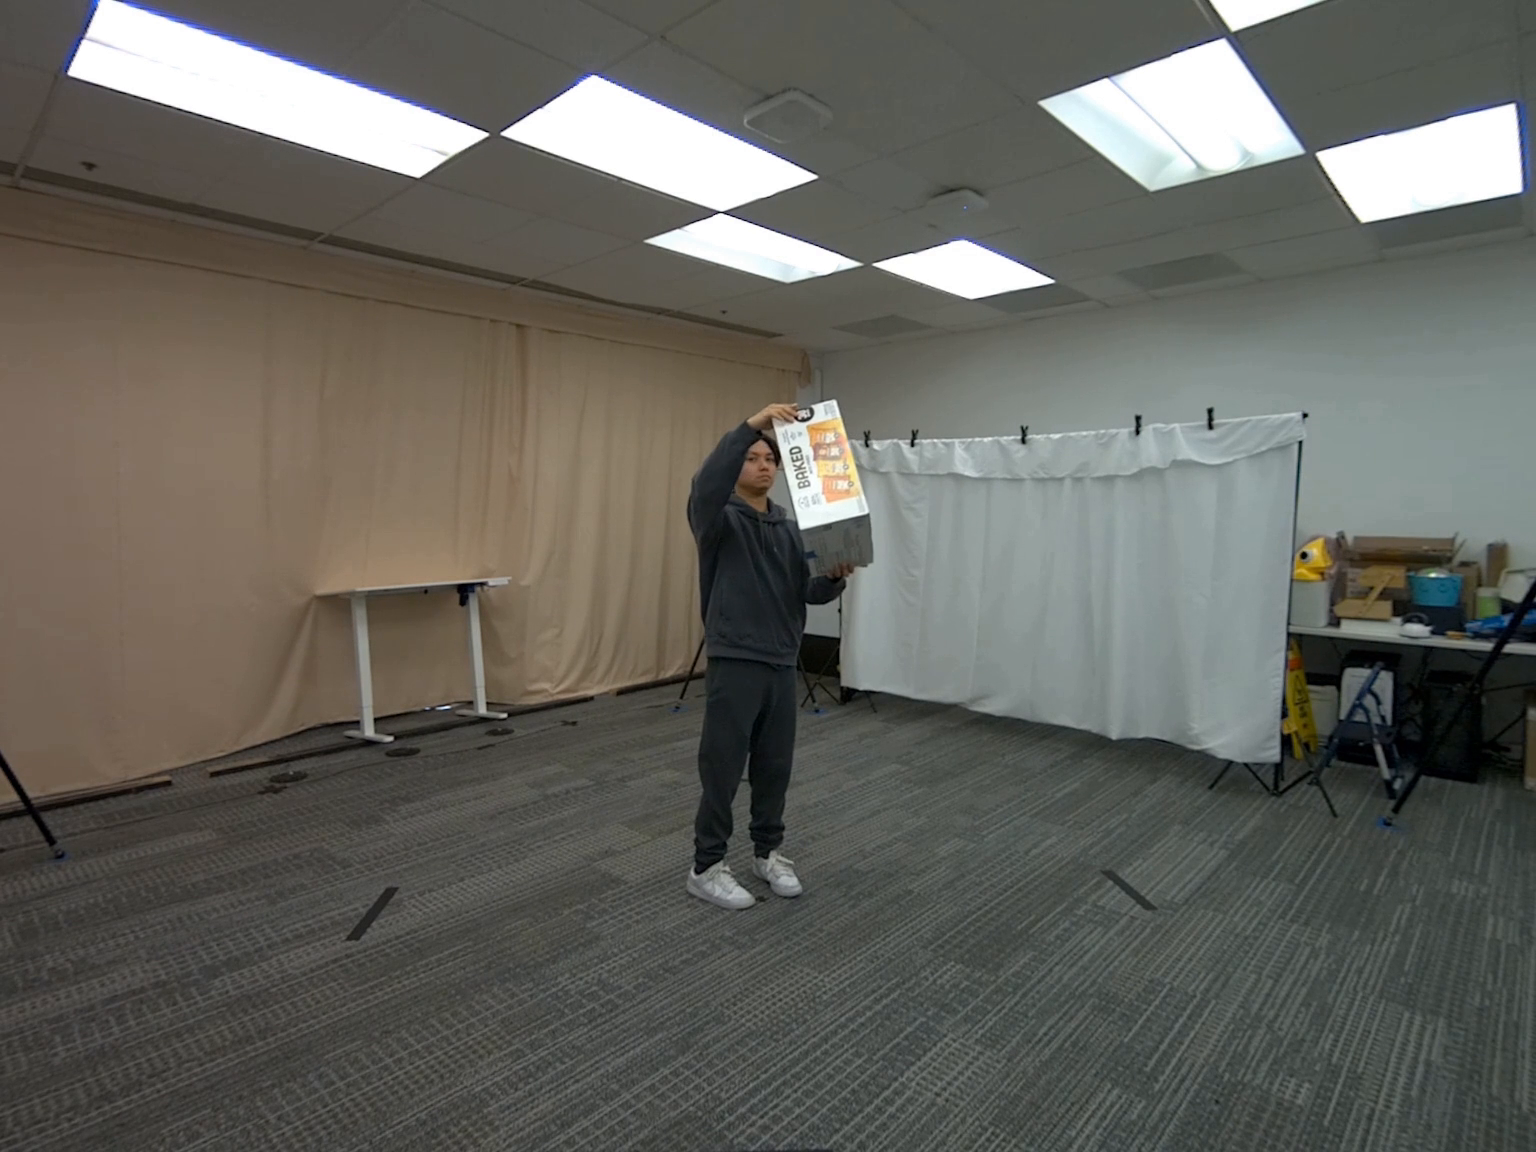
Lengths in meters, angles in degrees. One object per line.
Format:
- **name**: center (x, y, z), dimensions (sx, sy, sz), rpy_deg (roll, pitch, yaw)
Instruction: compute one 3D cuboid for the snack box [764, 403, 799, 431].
- **snack box**: center (0.180, -0.264, 2.583), dimensions (0.207, 0.413, 0.332), rpy_deg (-15, -27, 4)
